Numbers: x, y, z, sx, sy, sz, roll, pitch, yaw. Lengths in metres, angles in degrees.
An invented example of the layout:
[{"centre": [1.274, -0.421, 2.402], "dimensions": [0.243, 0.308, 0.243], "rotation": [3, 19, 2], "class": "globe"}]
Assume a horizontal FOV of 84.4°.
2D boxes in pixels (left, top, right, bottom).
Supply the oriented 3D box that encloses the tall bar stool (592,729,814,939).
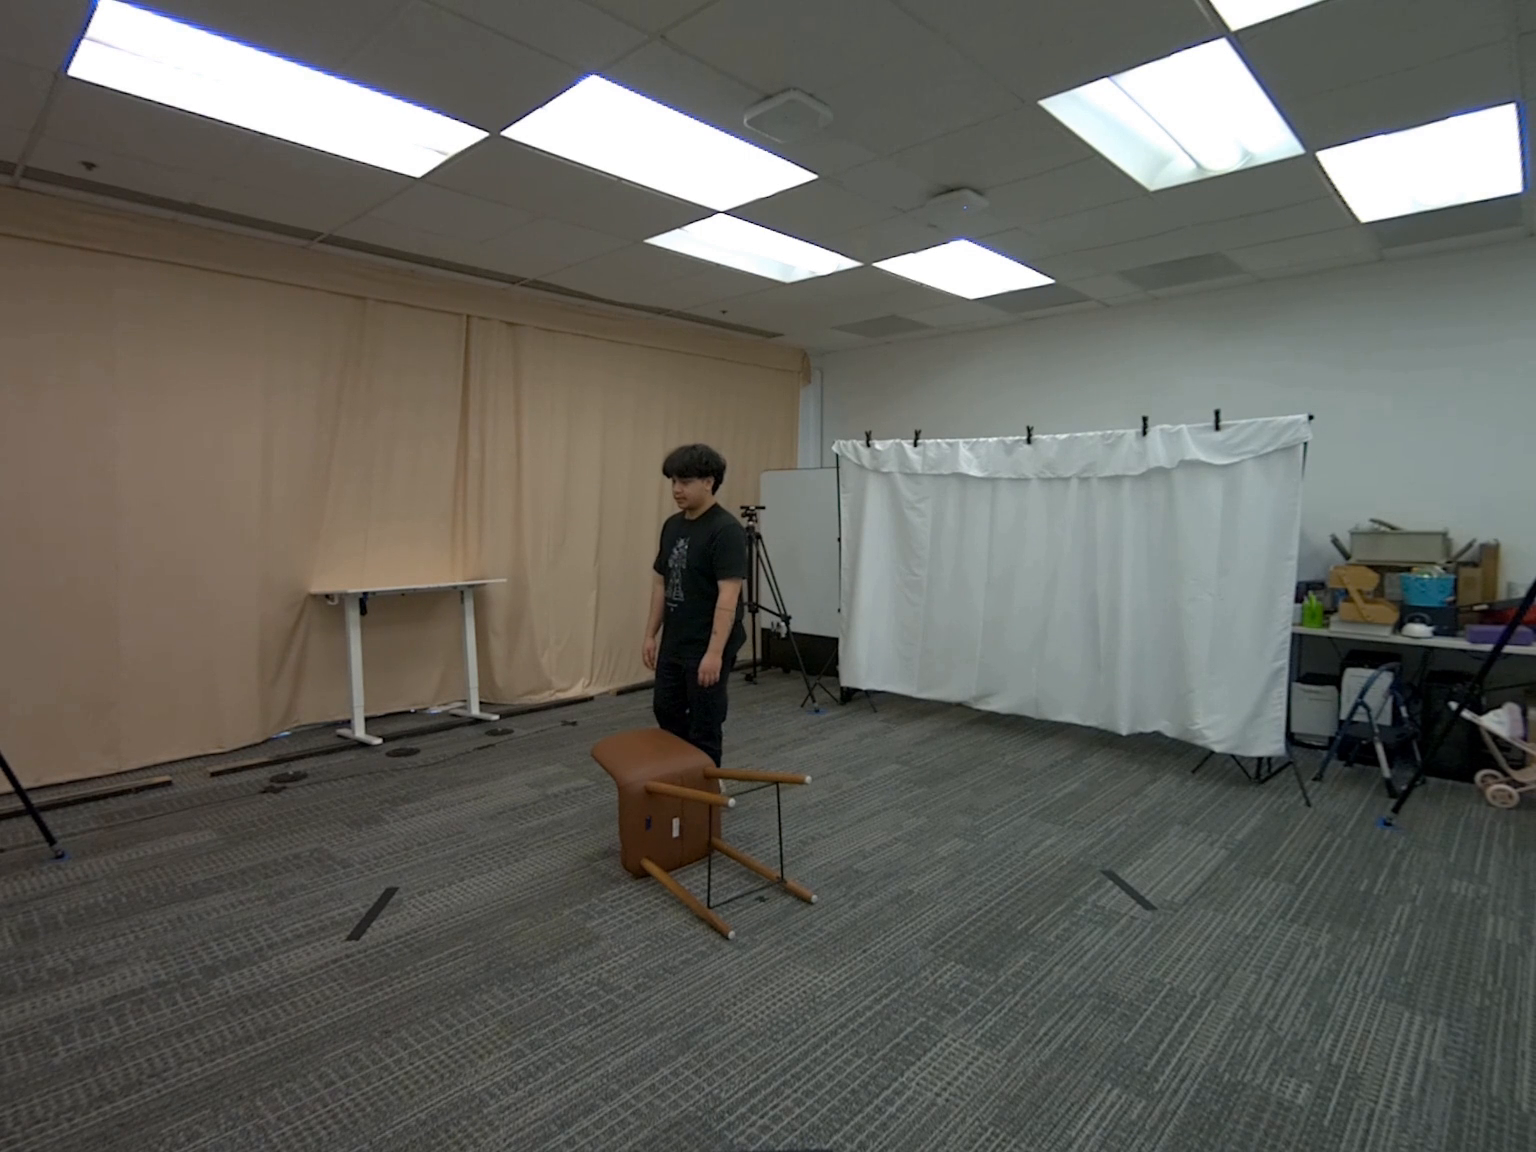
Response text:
[{"centre": [-0.275, 0.899, 3.152], "dimensions": [0.443, 0.466, 0.920], "rotation": [-4, 7, -41], "class": "tall bar stool"}]
